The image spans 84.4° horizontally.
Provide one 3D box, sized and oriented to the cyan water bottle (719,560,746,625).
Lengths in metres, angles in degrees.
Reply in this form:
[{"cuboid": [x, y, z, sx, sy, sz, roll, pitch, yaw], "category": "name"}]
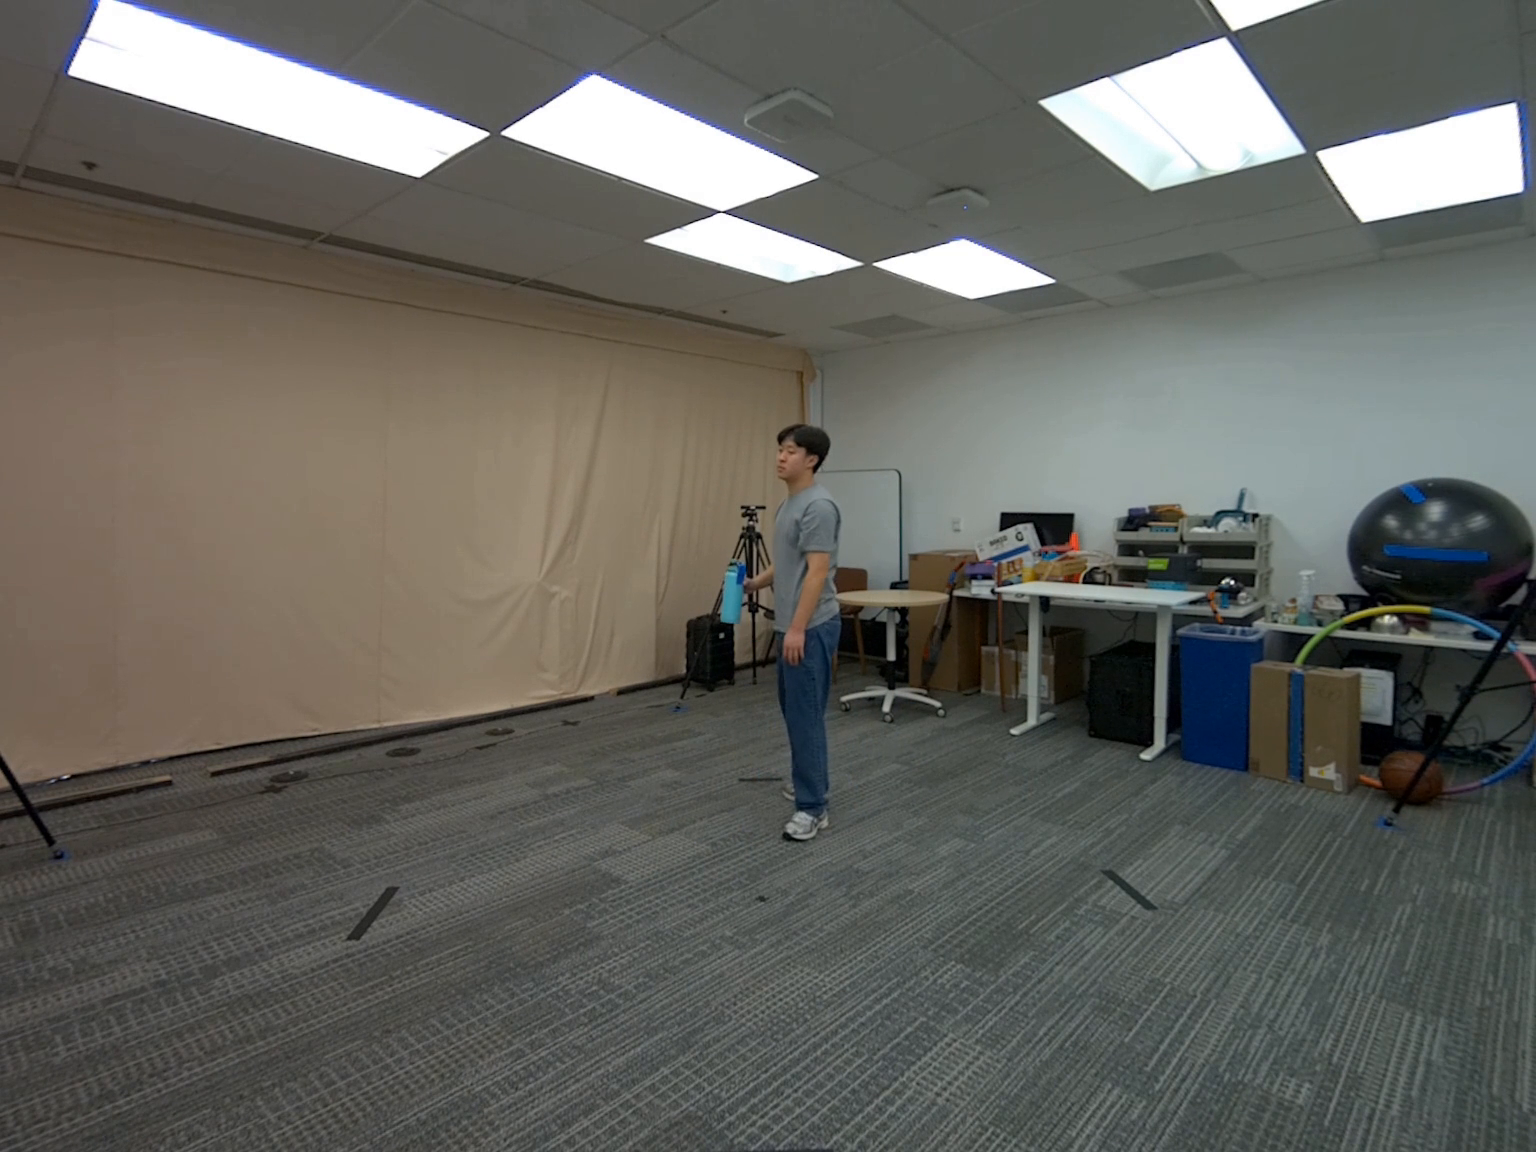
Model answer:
[{"cuboid": [-0.140, 0.067, 3.808, 0.092, 0.283, 0.092, 7, 3, -2], "category": "cyan water bottle"}]
